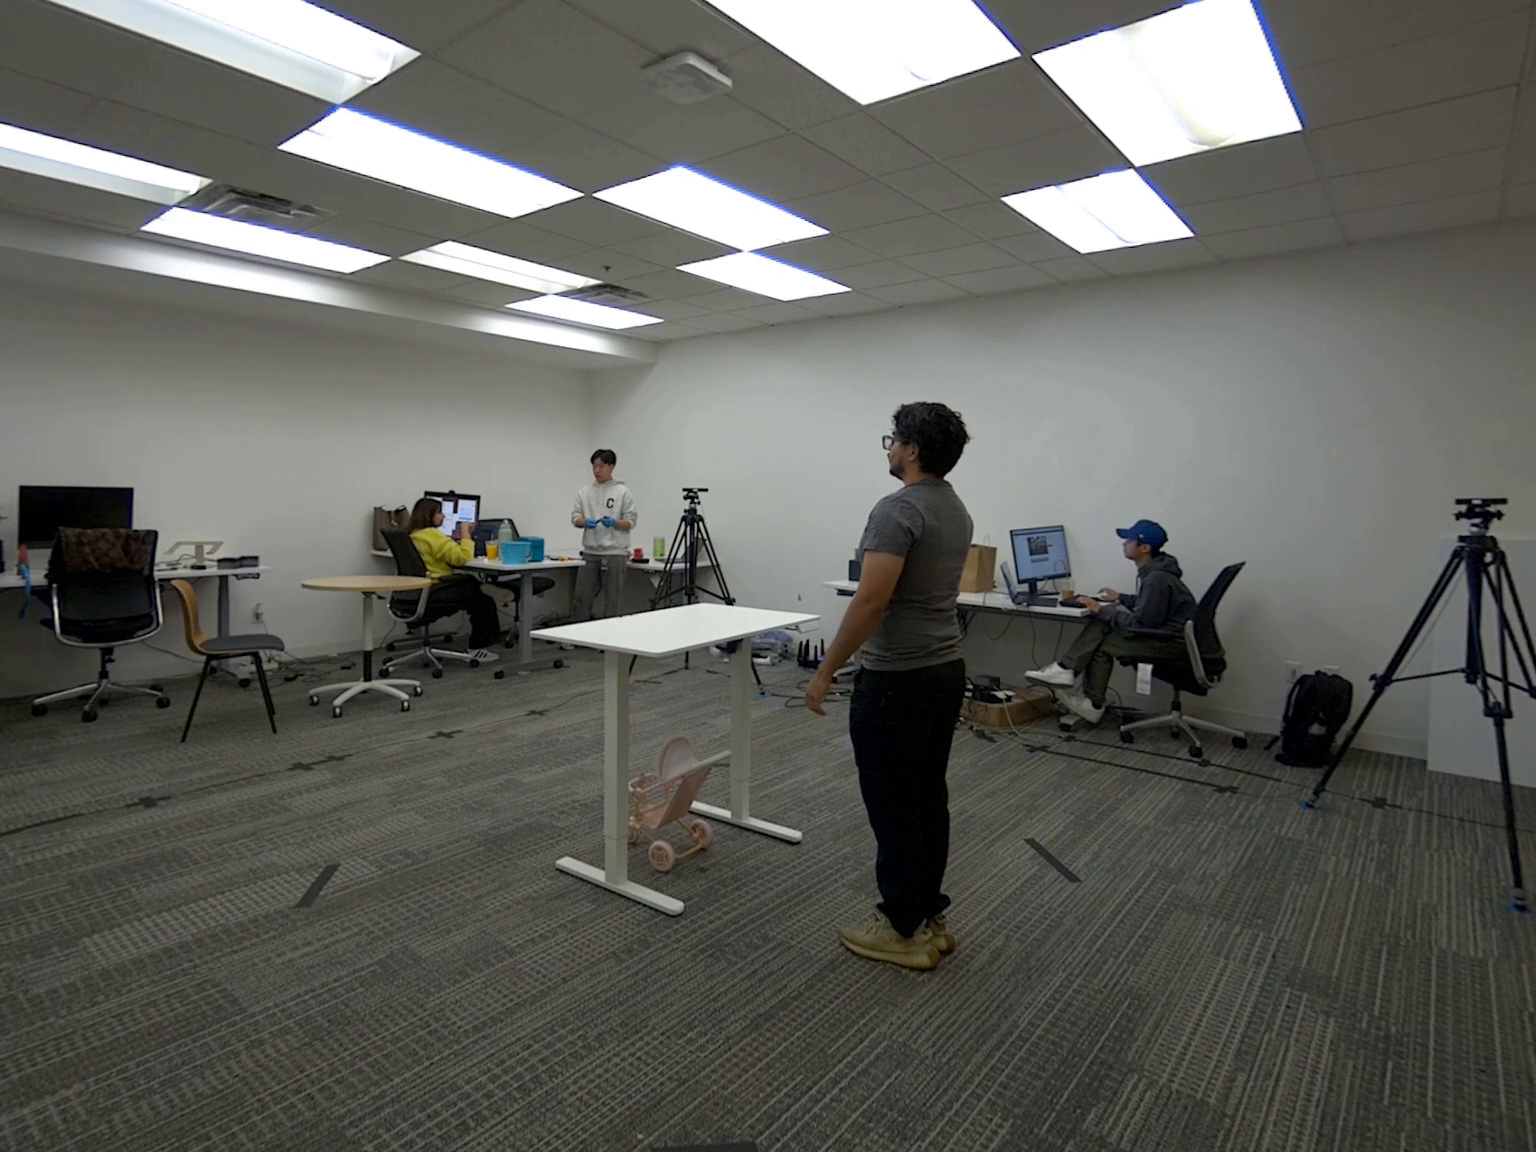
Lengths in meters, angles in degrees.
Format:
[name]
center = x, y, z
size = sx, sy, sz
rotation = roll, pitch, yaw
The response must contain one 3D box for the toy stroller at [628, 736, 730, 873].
[toy stroller]
center = -0.382, 0.835, 3.221
size = 0.355, 0.530, 0.273
rotation = 24, 16, 34
